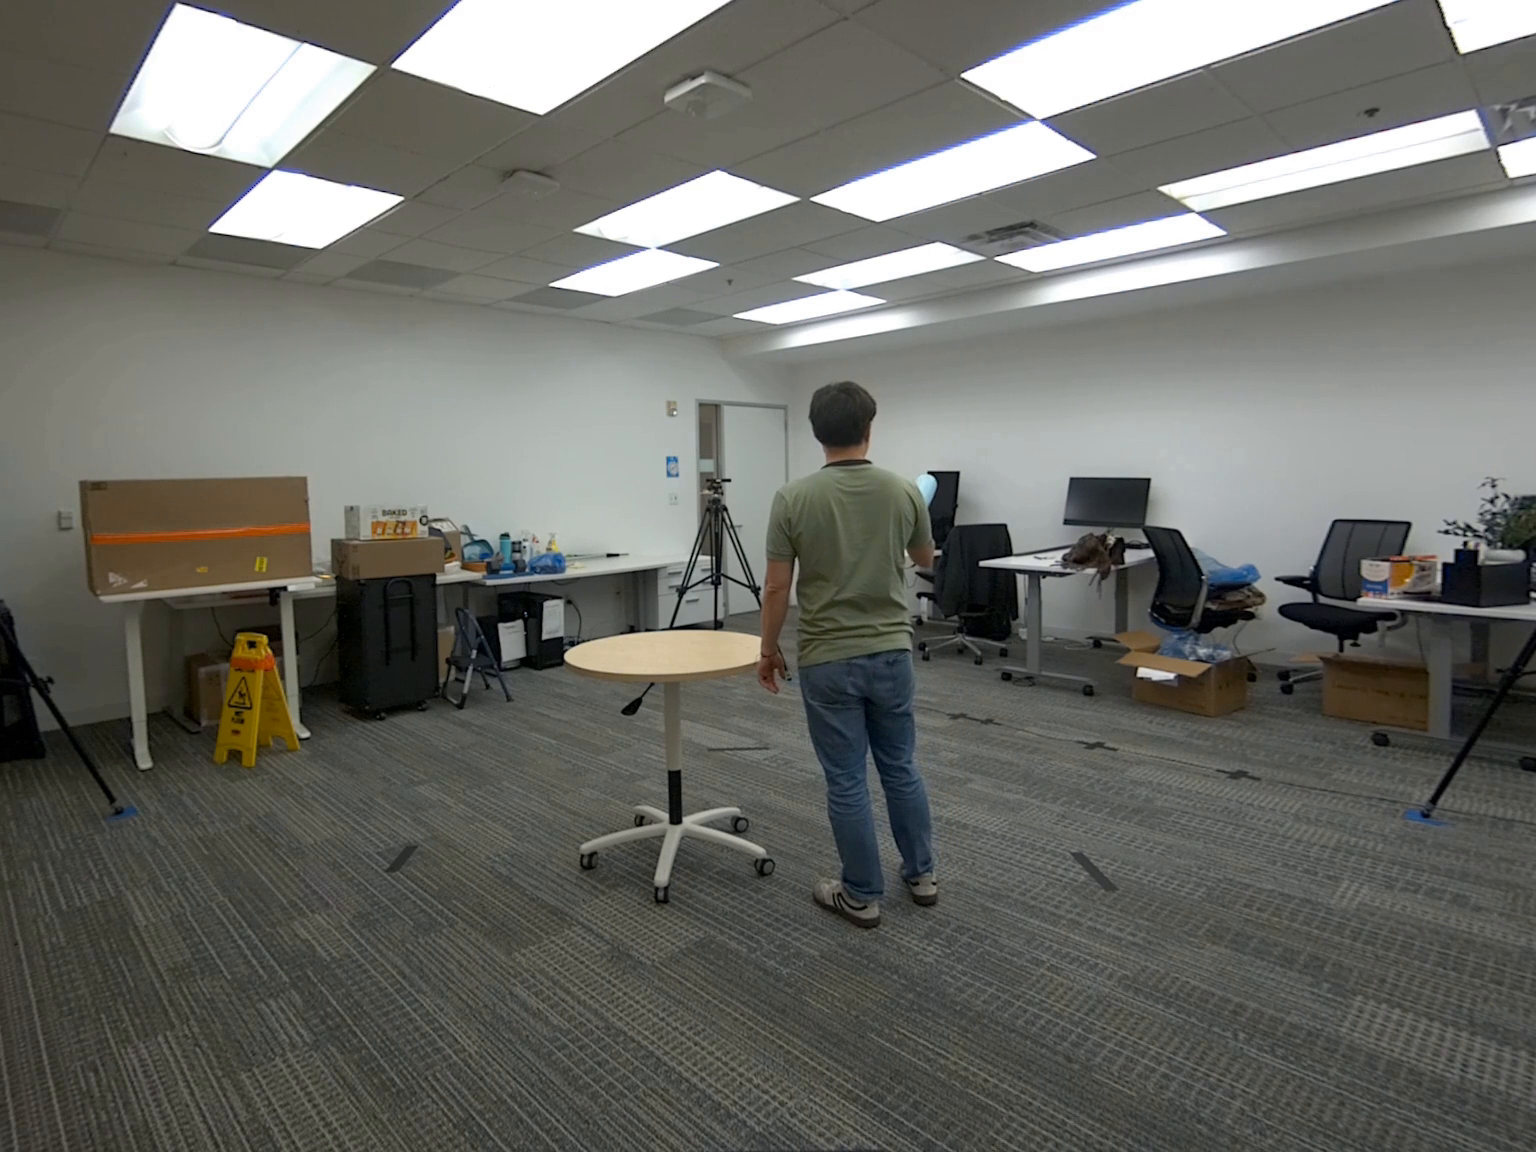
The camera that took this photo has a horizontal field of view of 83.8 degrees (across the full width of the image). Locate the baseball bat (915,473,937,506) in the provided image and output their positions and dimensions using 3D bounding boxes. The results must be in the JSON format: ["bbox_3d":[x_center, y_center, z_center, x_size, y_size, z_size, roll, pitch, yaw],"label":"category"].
[{"bbox_3d":[0.544,-0.245,3.175,0.091,0.087,0.545,0,29,21],"label":"baseball bat"}]
